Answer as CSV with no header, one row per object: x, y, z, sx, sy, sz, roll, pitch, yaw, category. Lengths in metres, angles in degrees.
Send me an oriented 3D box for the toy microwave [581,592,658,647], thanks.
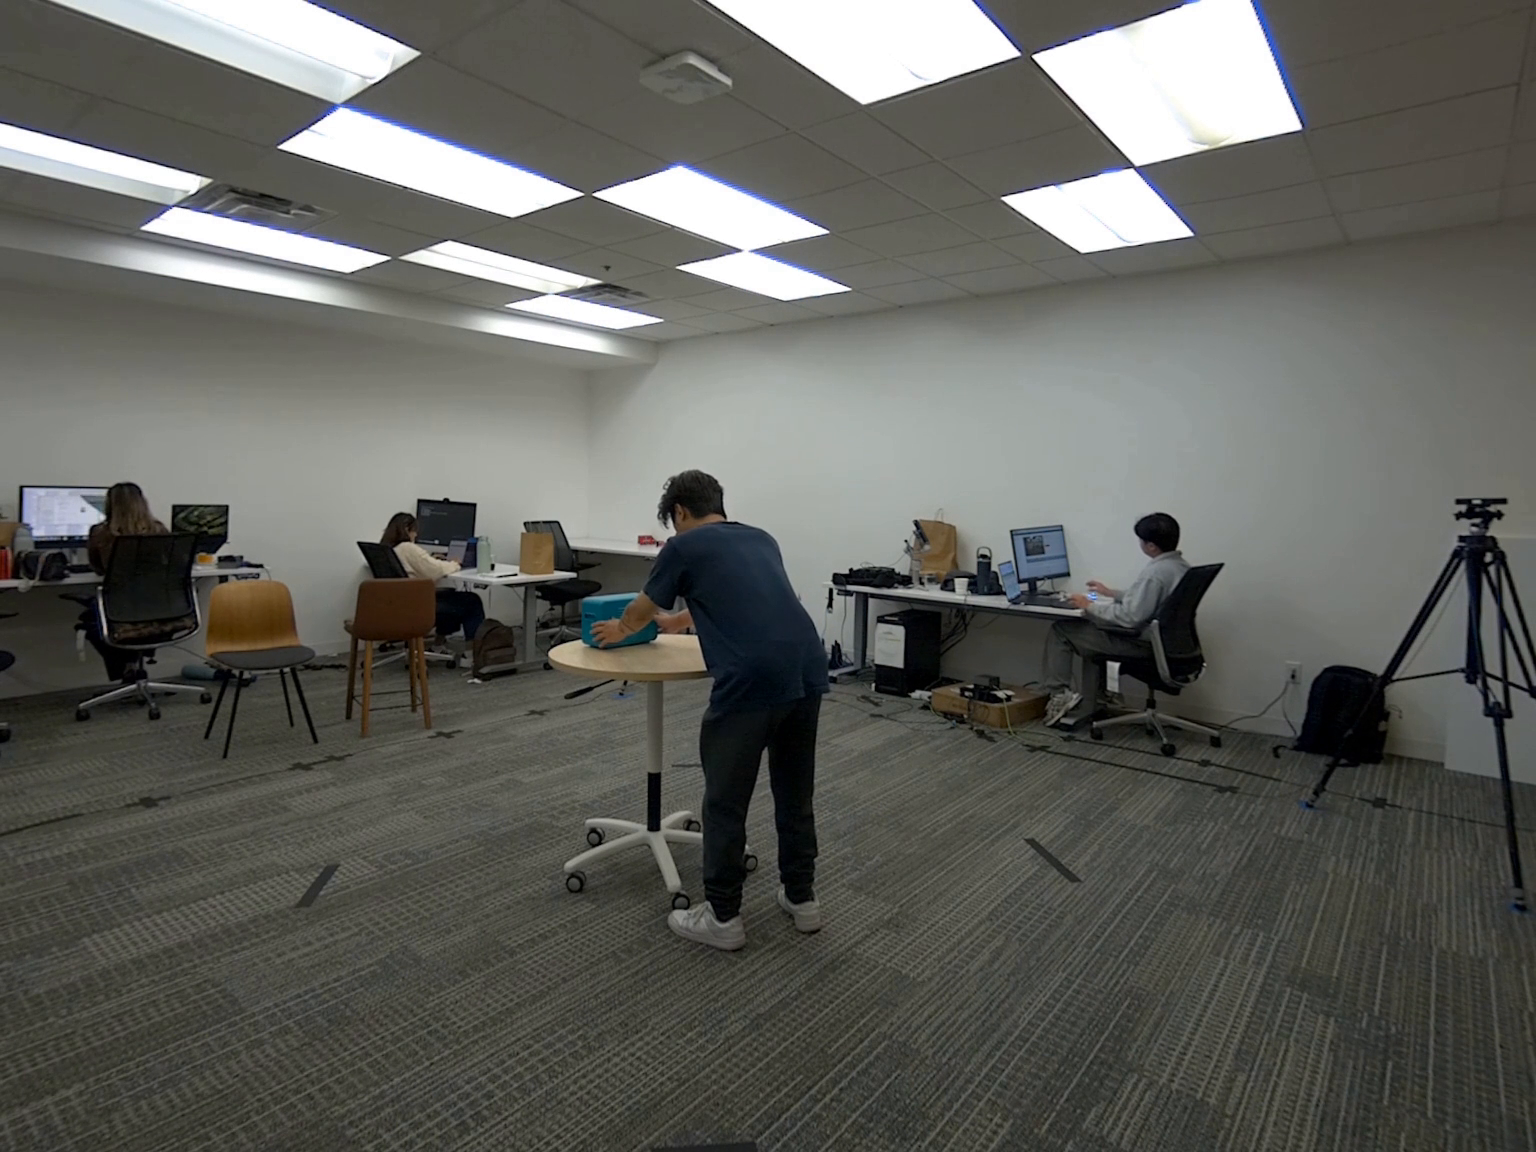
-0.574,0.164,3.223,0.157,0.183,0.278,4,6,43,toy microwave
